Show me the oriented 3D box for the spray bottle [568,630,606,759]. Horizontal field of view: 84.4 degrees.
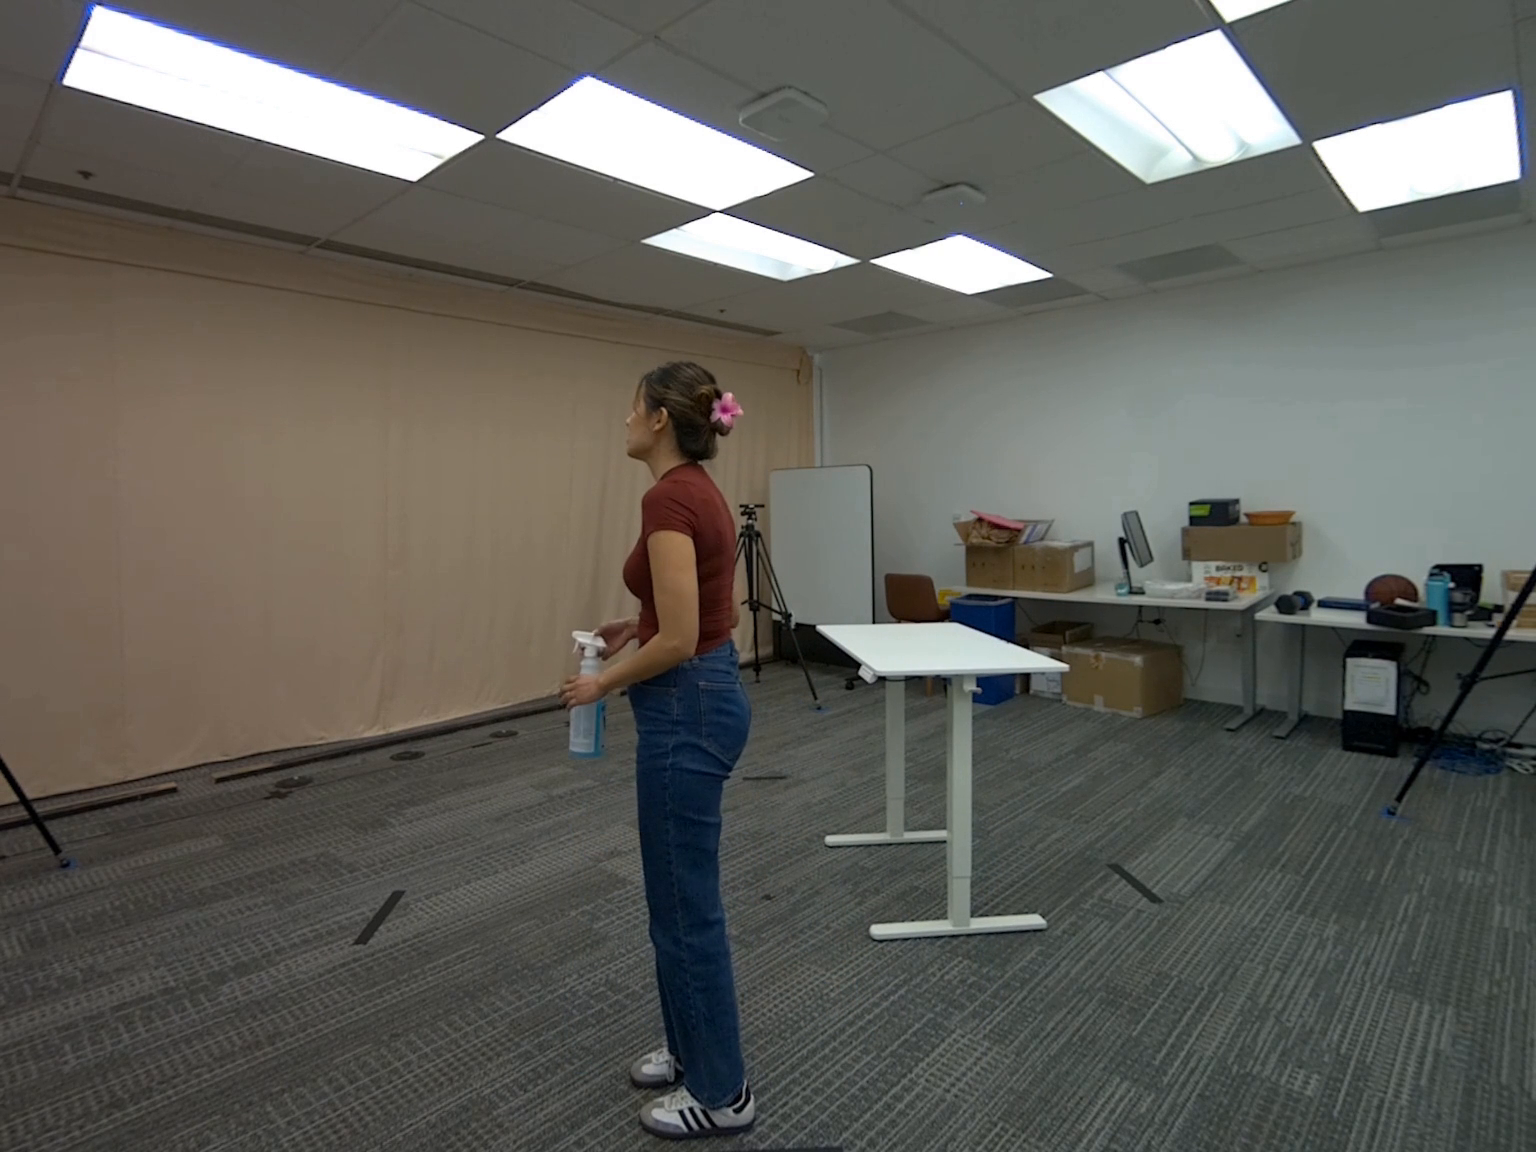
[{"bbox_3d":[-0.430,0.297,2.044,0.084,0.297,0.093,2,-1,-45],"label":"spray bottle"}]
